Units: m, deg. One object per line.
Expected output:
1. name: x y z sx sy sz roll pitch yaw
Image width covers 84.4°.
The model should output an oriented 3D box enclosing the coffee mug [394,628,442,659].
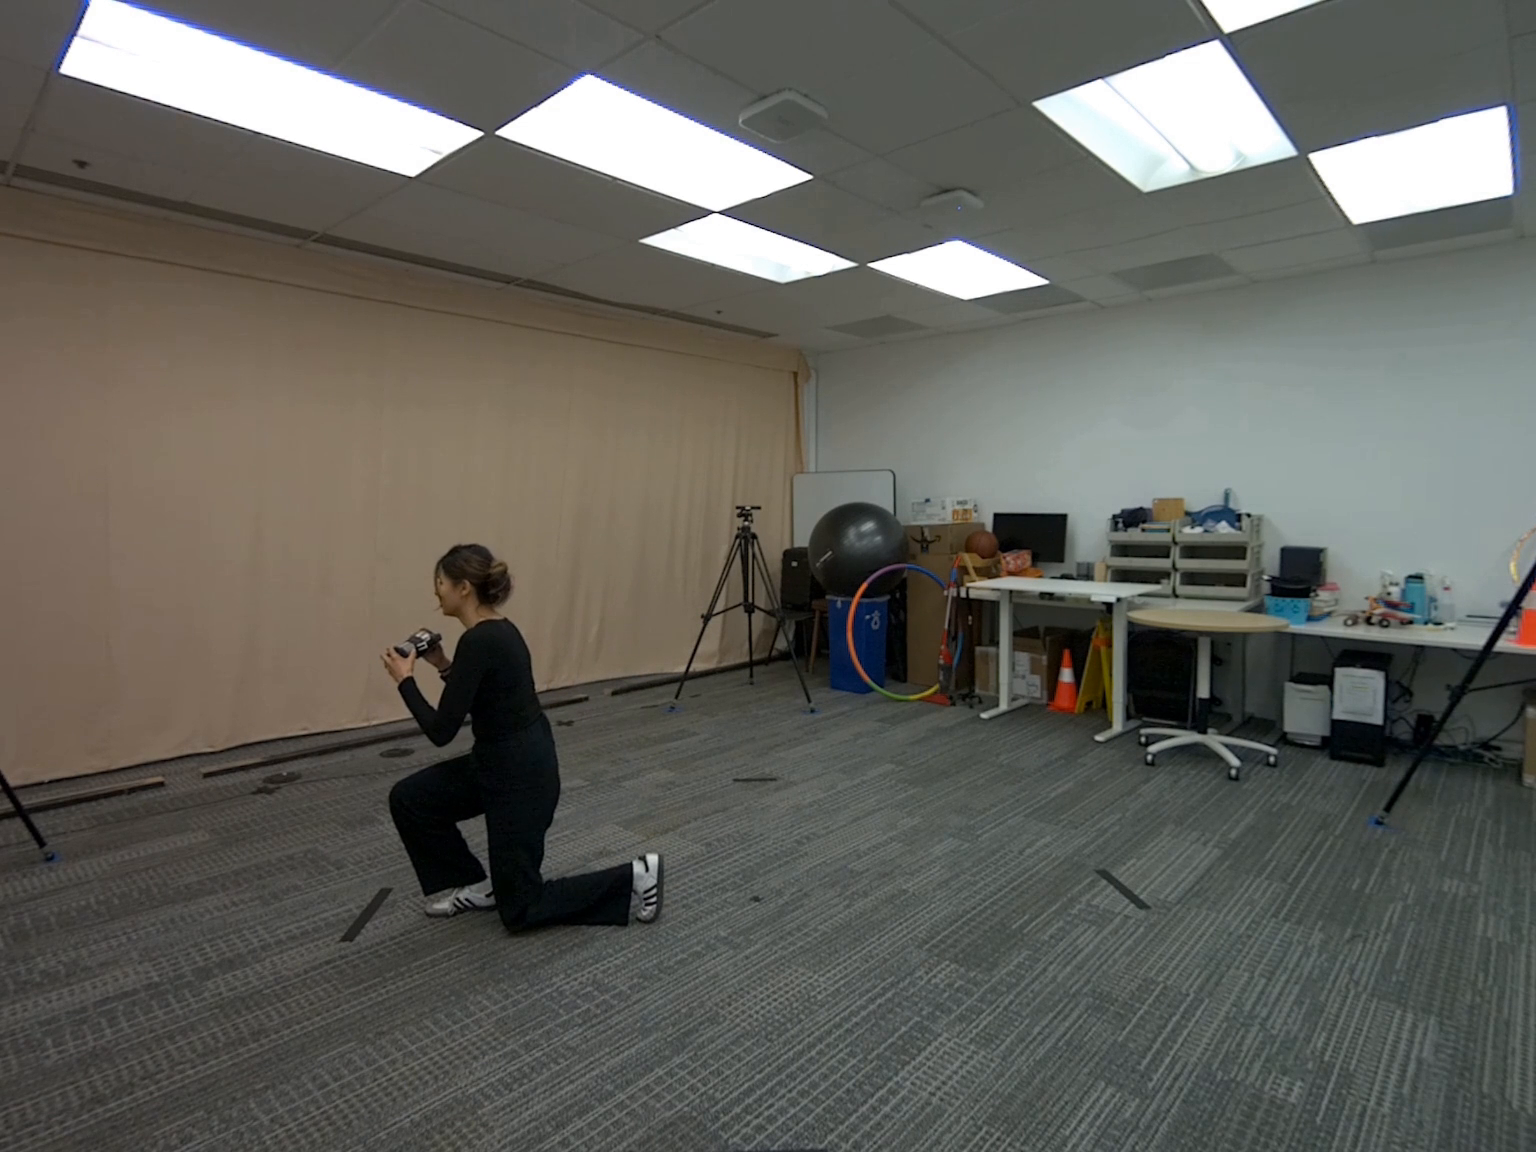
1. coffee mug: -1.206 0.233 2.867 0.122 0.087 0.203 -41 6 9
